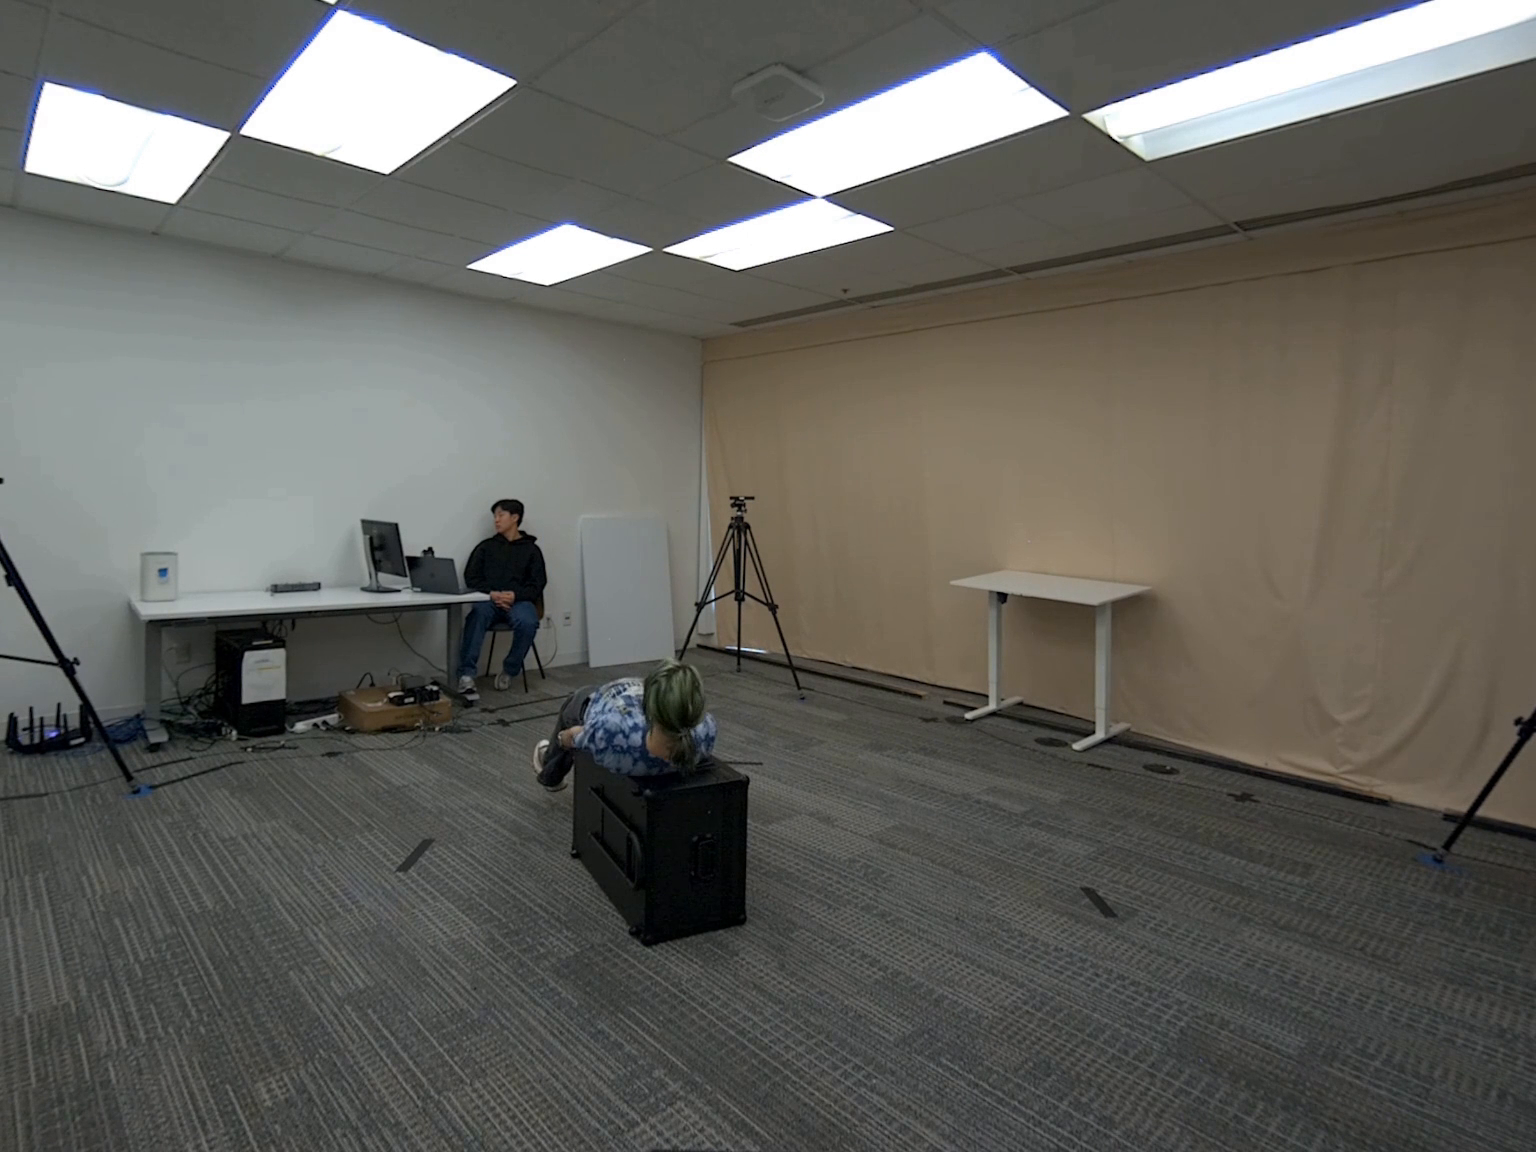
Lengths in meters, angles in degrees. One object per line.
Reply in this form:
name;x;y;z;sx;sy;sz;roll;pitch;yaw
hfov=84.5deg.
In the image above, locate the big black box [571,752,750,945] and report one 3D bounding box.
big black box;-0.439;0.862;3.020;0.389;0.520;0.880;0;4;-27
